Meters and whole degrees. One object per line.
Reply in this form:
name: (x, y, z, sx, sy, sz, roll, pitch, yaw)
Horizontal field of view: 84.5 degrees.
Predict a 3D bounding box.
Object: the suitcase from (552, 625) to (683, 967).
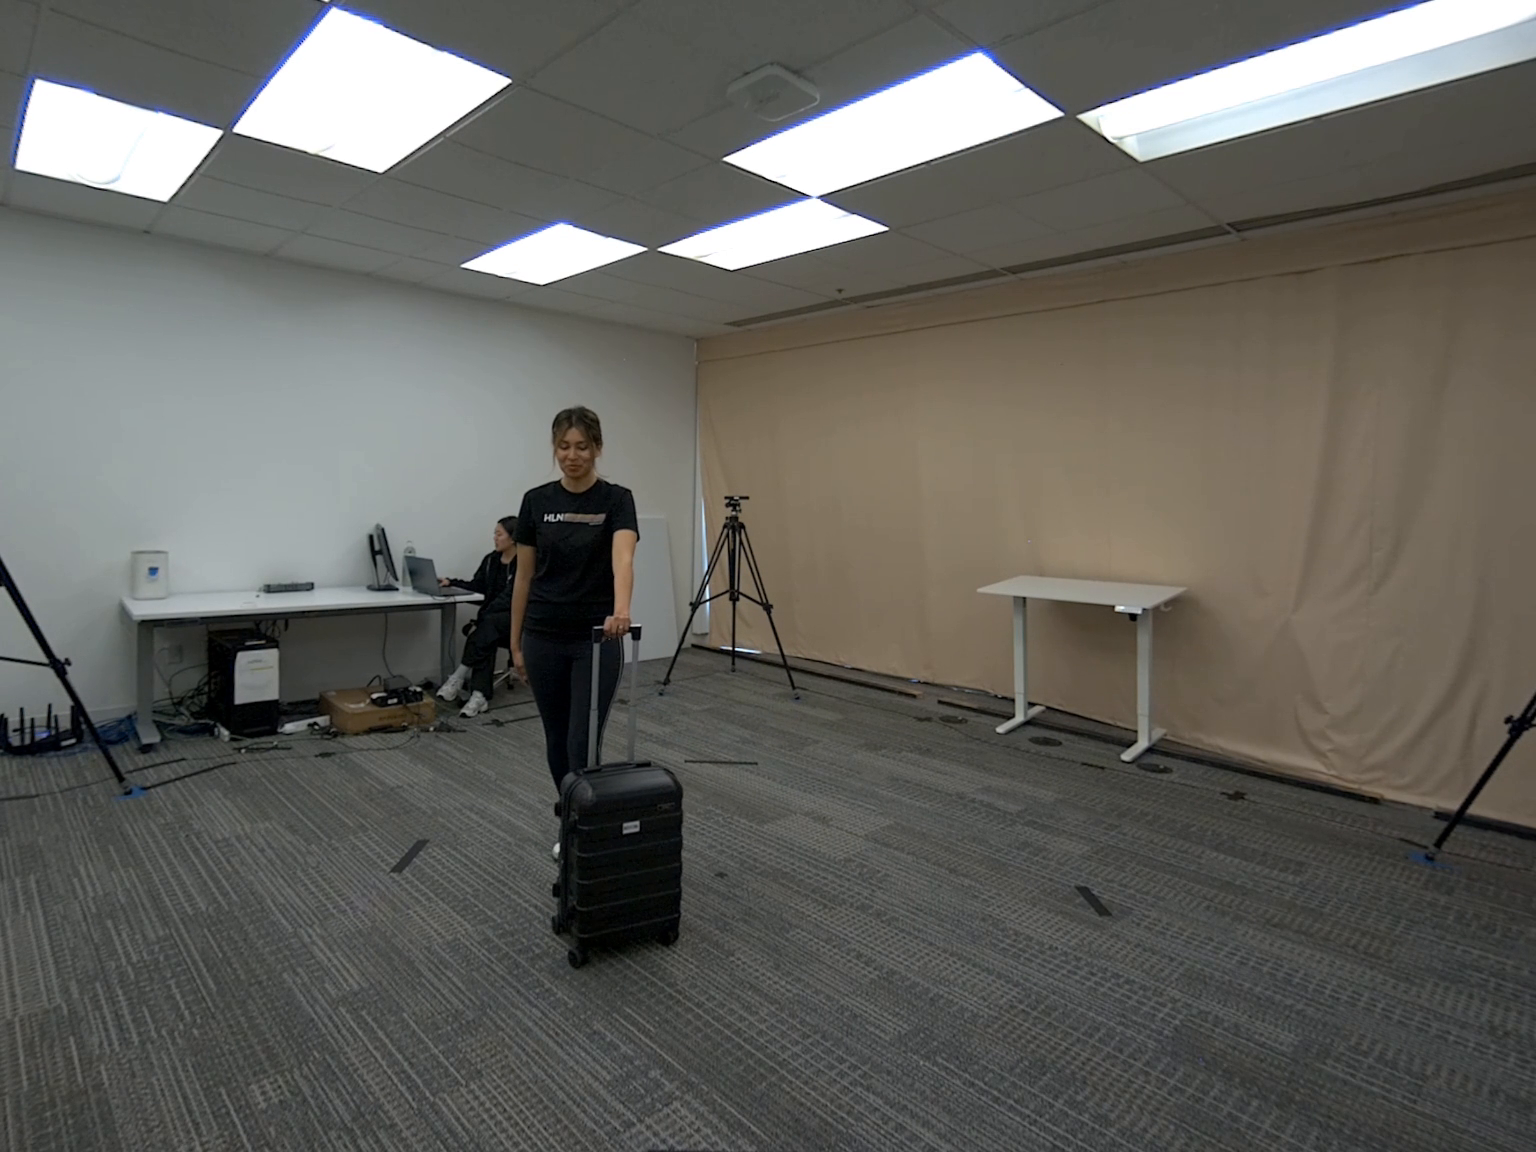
suitcase: (-0.447, 0.669, 2.586, 0.377, 0.975, 0.263, 1, 6, -26)
